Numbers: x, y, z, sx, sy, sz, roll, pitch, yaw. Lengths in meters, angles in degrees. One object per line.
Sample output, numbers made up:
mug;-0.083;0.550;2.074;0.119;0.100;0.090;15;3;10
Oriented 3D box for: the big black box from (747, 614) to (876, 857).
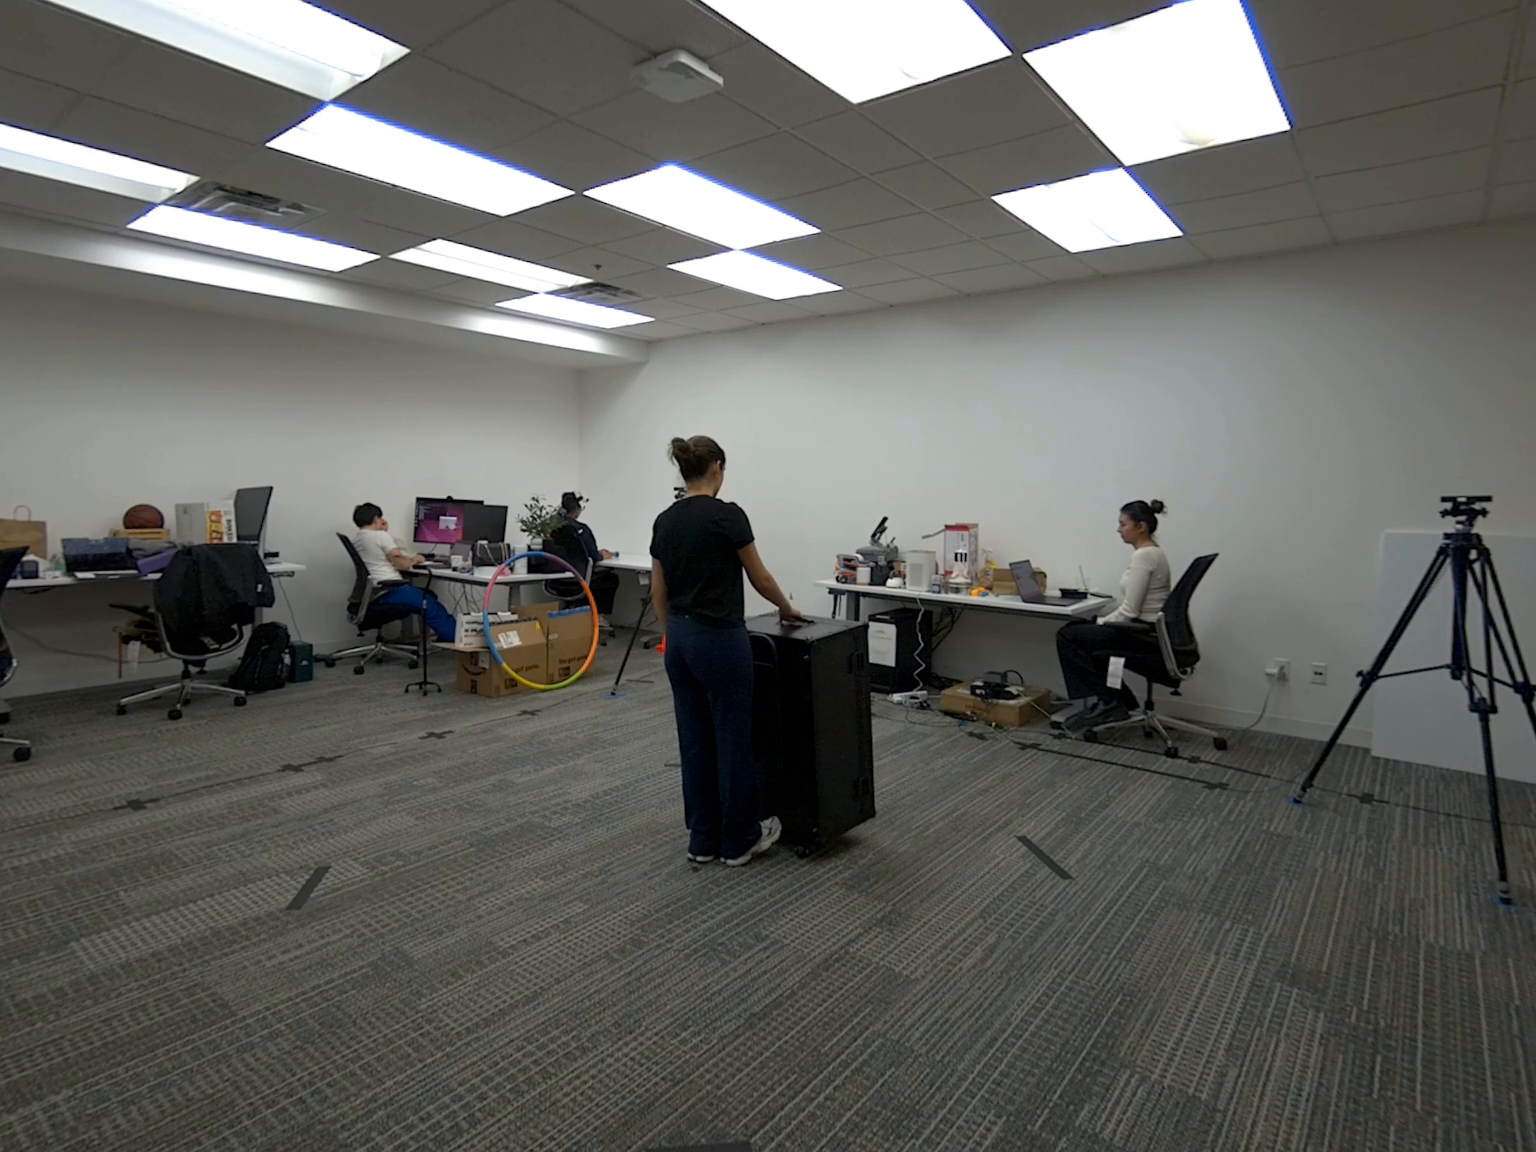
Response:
big black box;0.122;0.552;3.391;0.539;0.856;0.385;4;9;45
